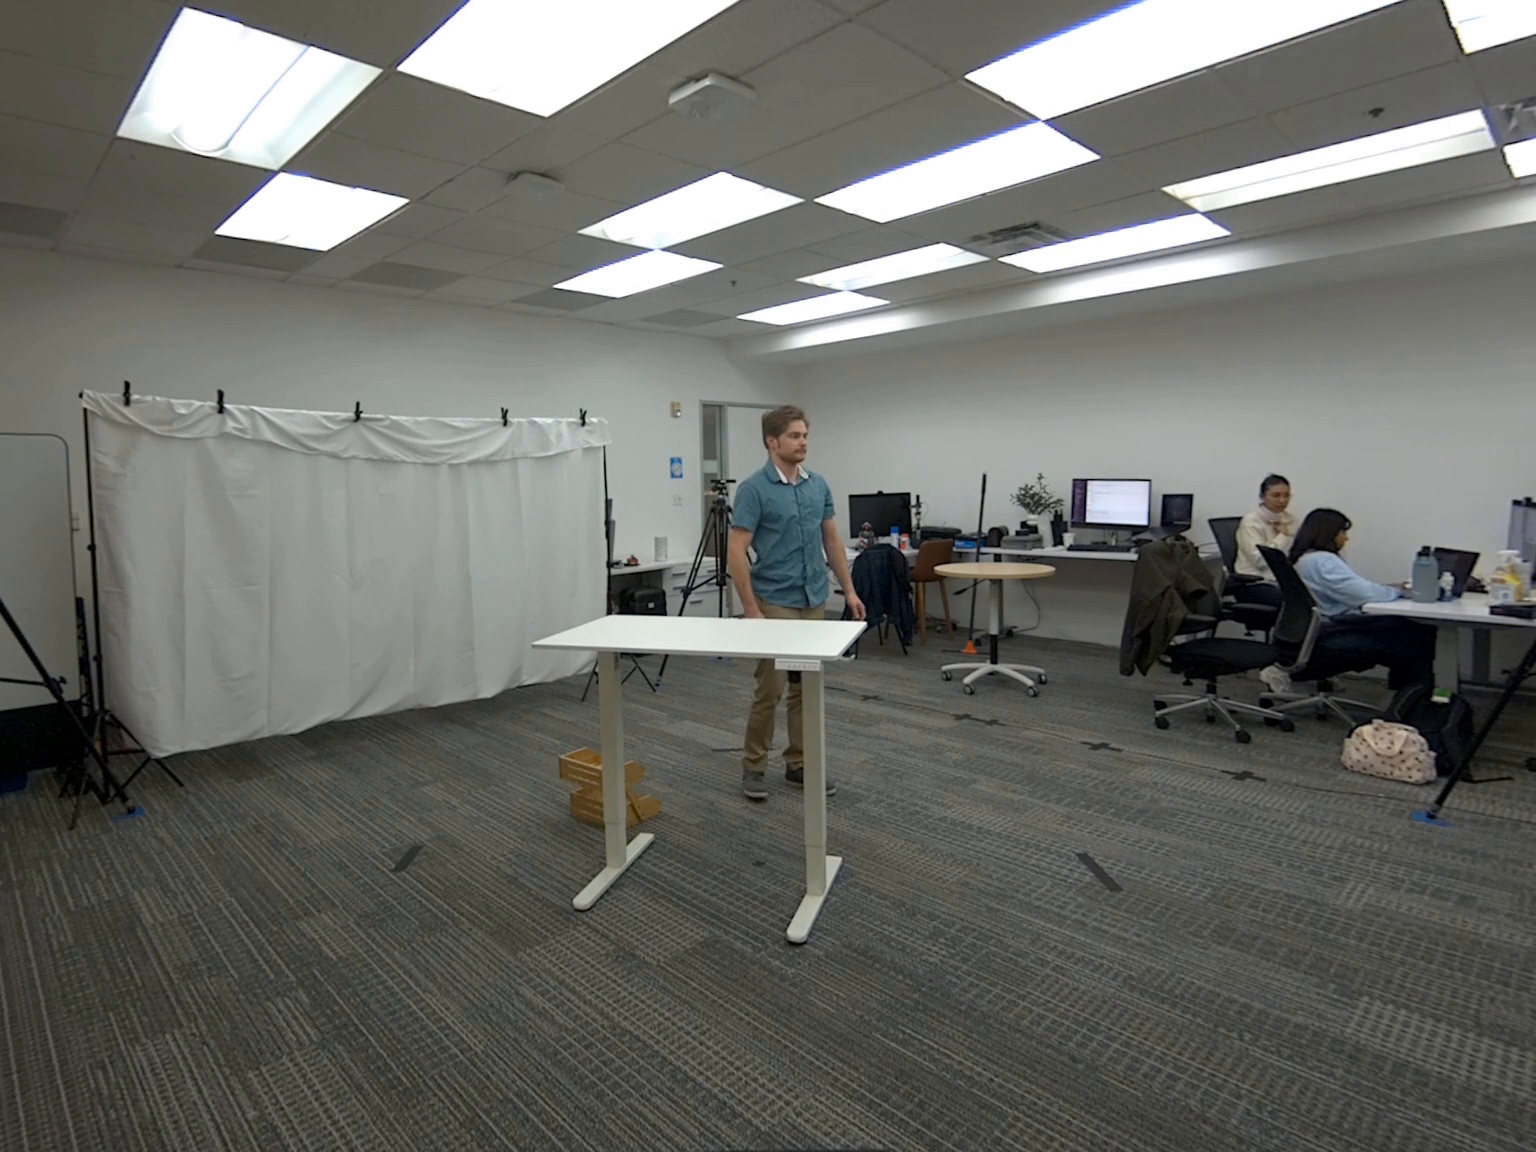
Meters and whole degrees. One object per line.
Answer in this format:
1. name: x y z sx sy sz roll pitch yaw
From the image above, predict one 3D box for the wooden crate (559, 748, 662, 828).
1. wooden crate: -0.661 0.872 3.591 0.334 0.272 0.294 3 7 39
